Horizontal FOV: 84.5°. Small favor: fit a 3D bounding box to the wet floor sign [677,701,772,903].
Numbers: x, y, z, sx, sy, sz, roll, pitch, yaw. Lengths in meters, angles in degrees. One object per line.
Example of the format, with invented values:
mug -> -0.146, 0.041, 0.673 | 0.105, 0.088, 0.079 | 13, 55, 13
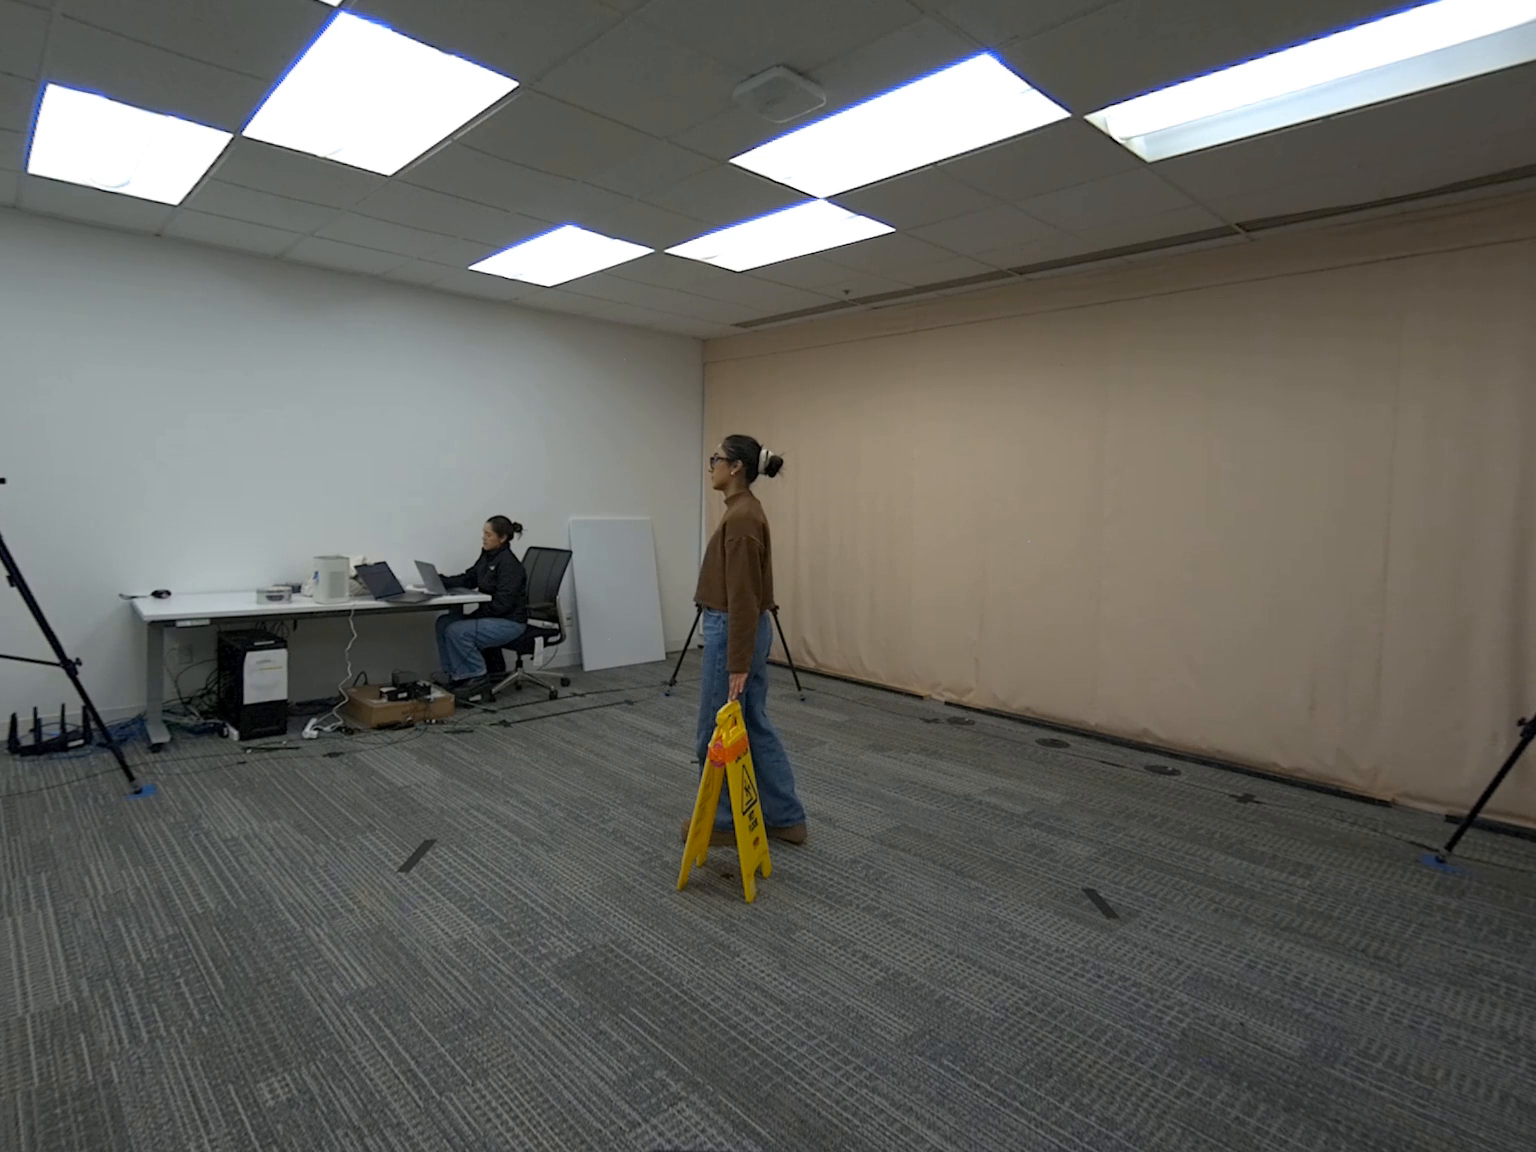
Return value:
wet floor sign -> -0.156, 0.789, 3.046 | 0.294, 0.644, 0.279 | 3, 4, 17
